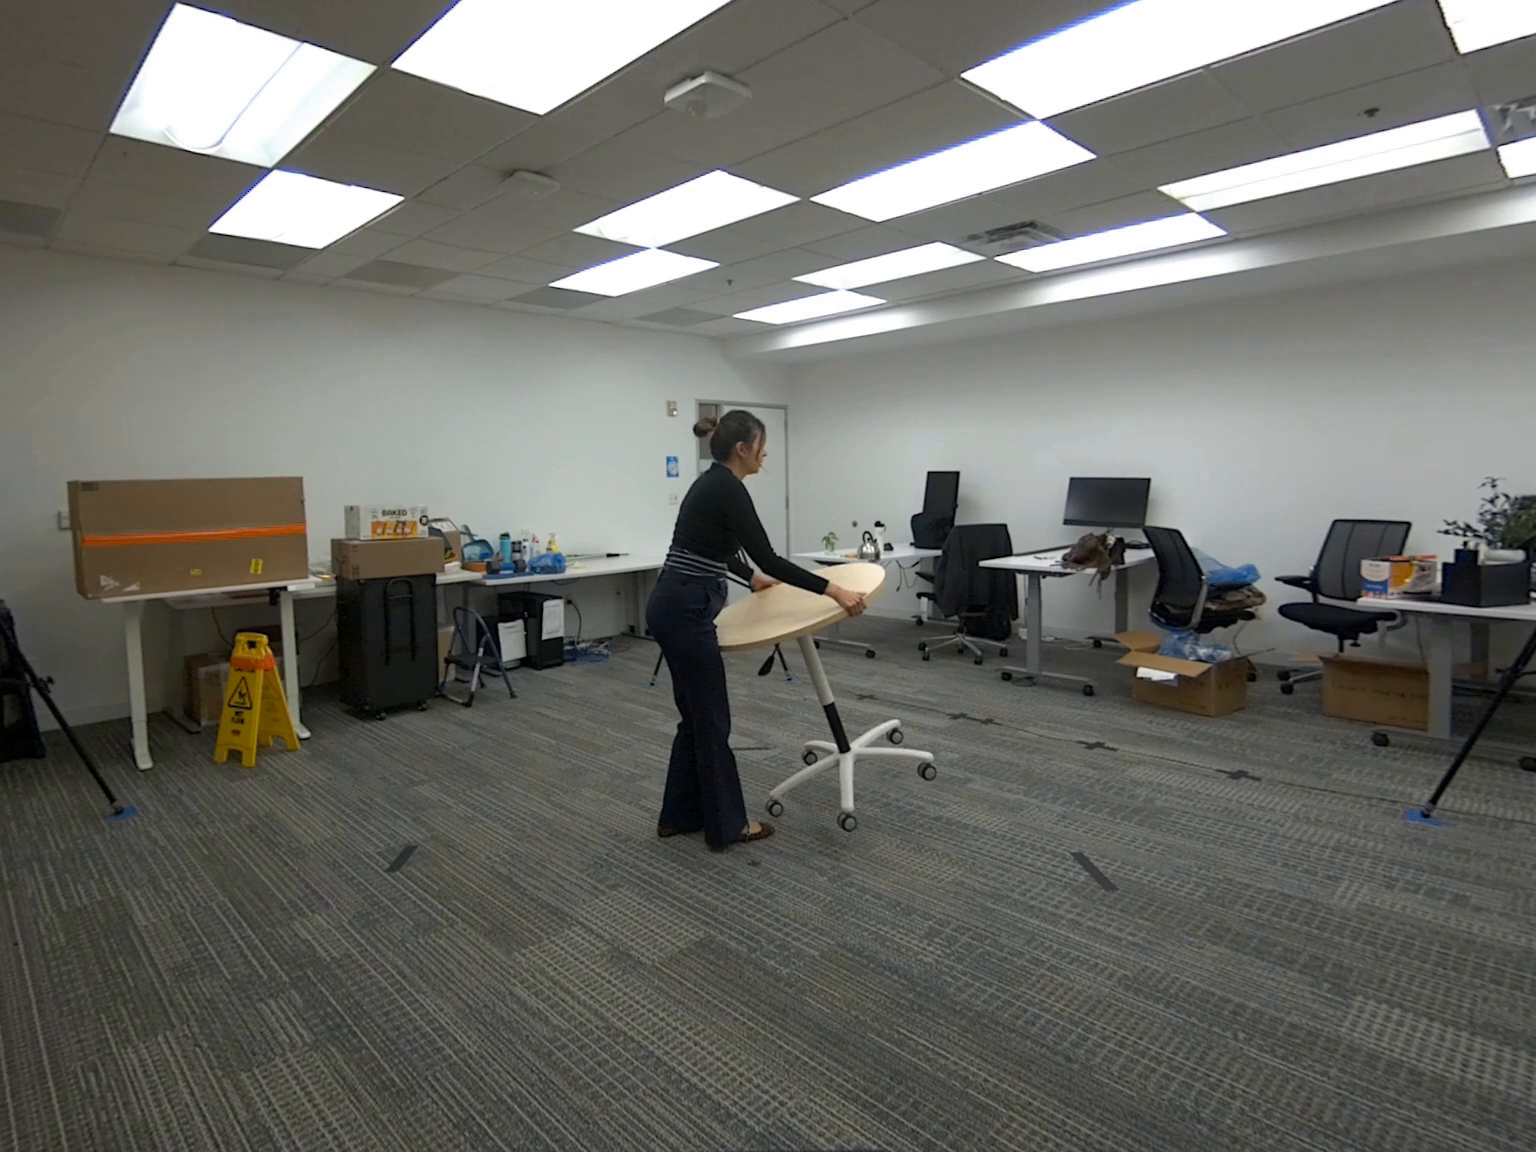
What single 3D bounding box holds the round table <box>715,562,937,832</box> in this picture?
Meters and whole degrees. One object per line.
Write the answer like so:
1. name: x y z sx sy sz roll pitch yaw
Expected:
1. round table: 0.227 0.468 3.416 0.765 0.785 0.772 -19 11 2
